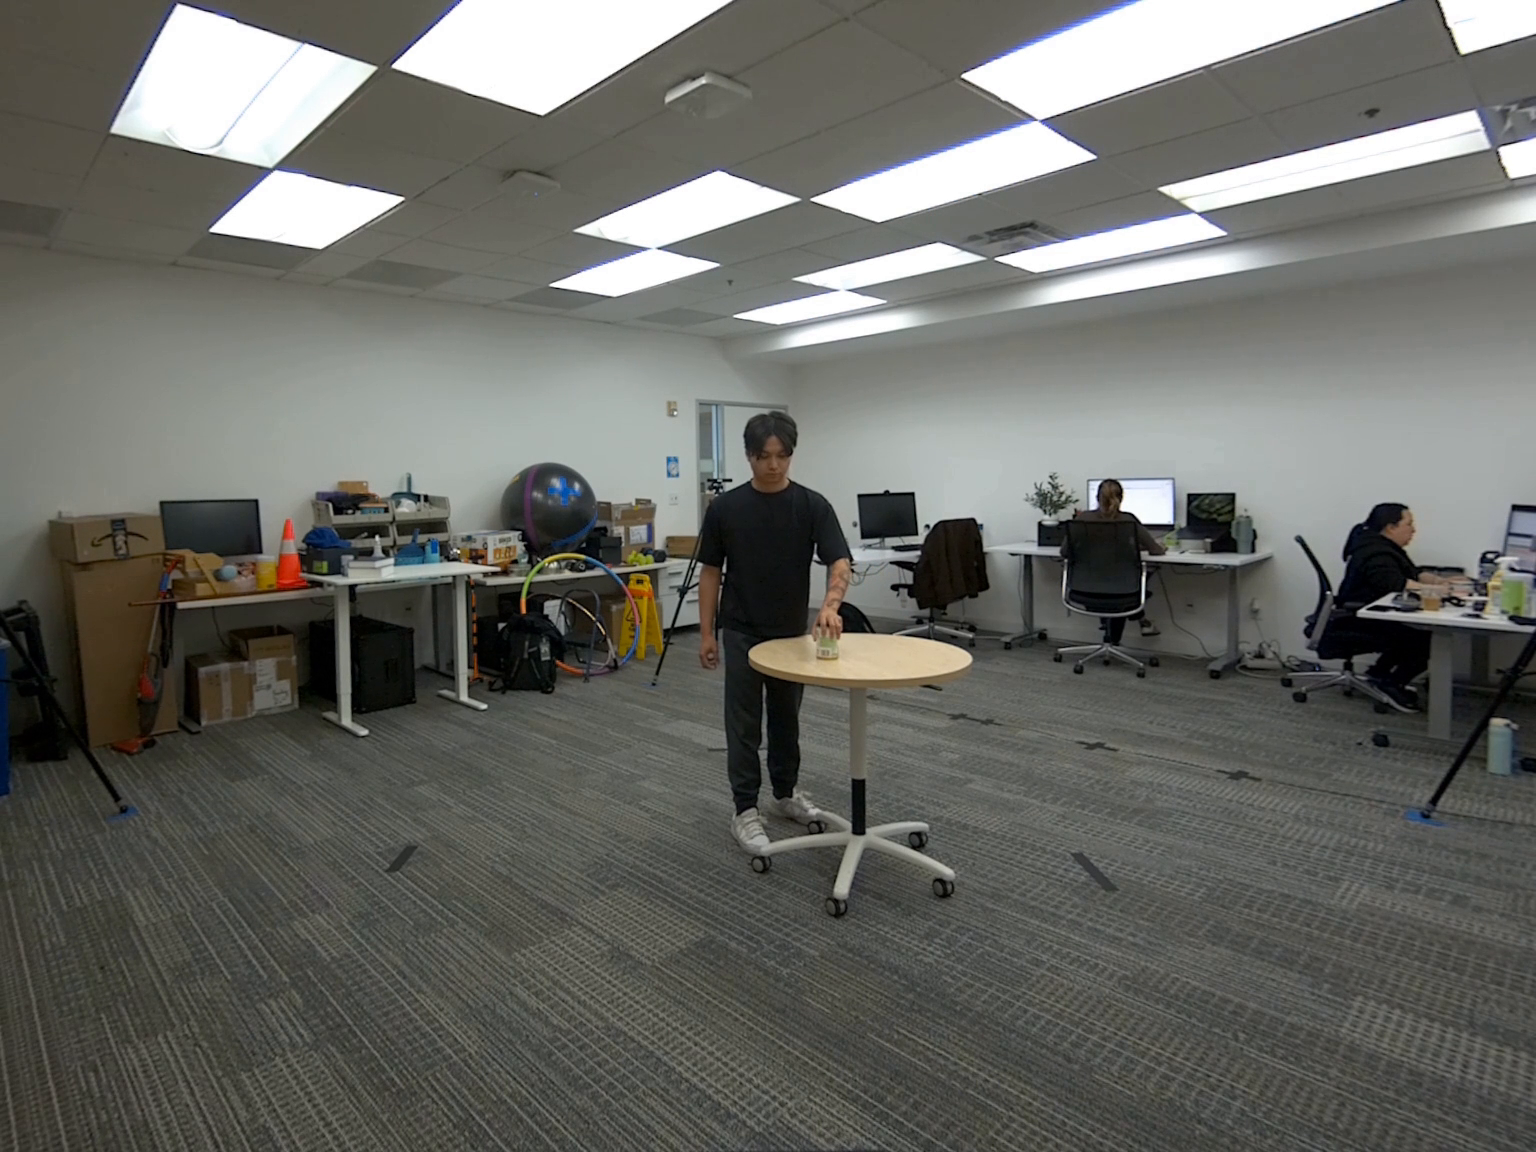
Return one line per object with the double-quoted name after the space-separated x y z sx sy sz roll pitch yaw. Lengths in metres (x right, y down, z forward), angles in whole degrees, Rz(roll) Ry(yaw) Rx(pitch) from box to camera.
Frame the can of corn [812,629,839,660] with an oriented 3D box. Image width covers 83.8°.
0.208 0.228 2.911 0.074 0.111 0.074 1 2 -2 "can of corn"
